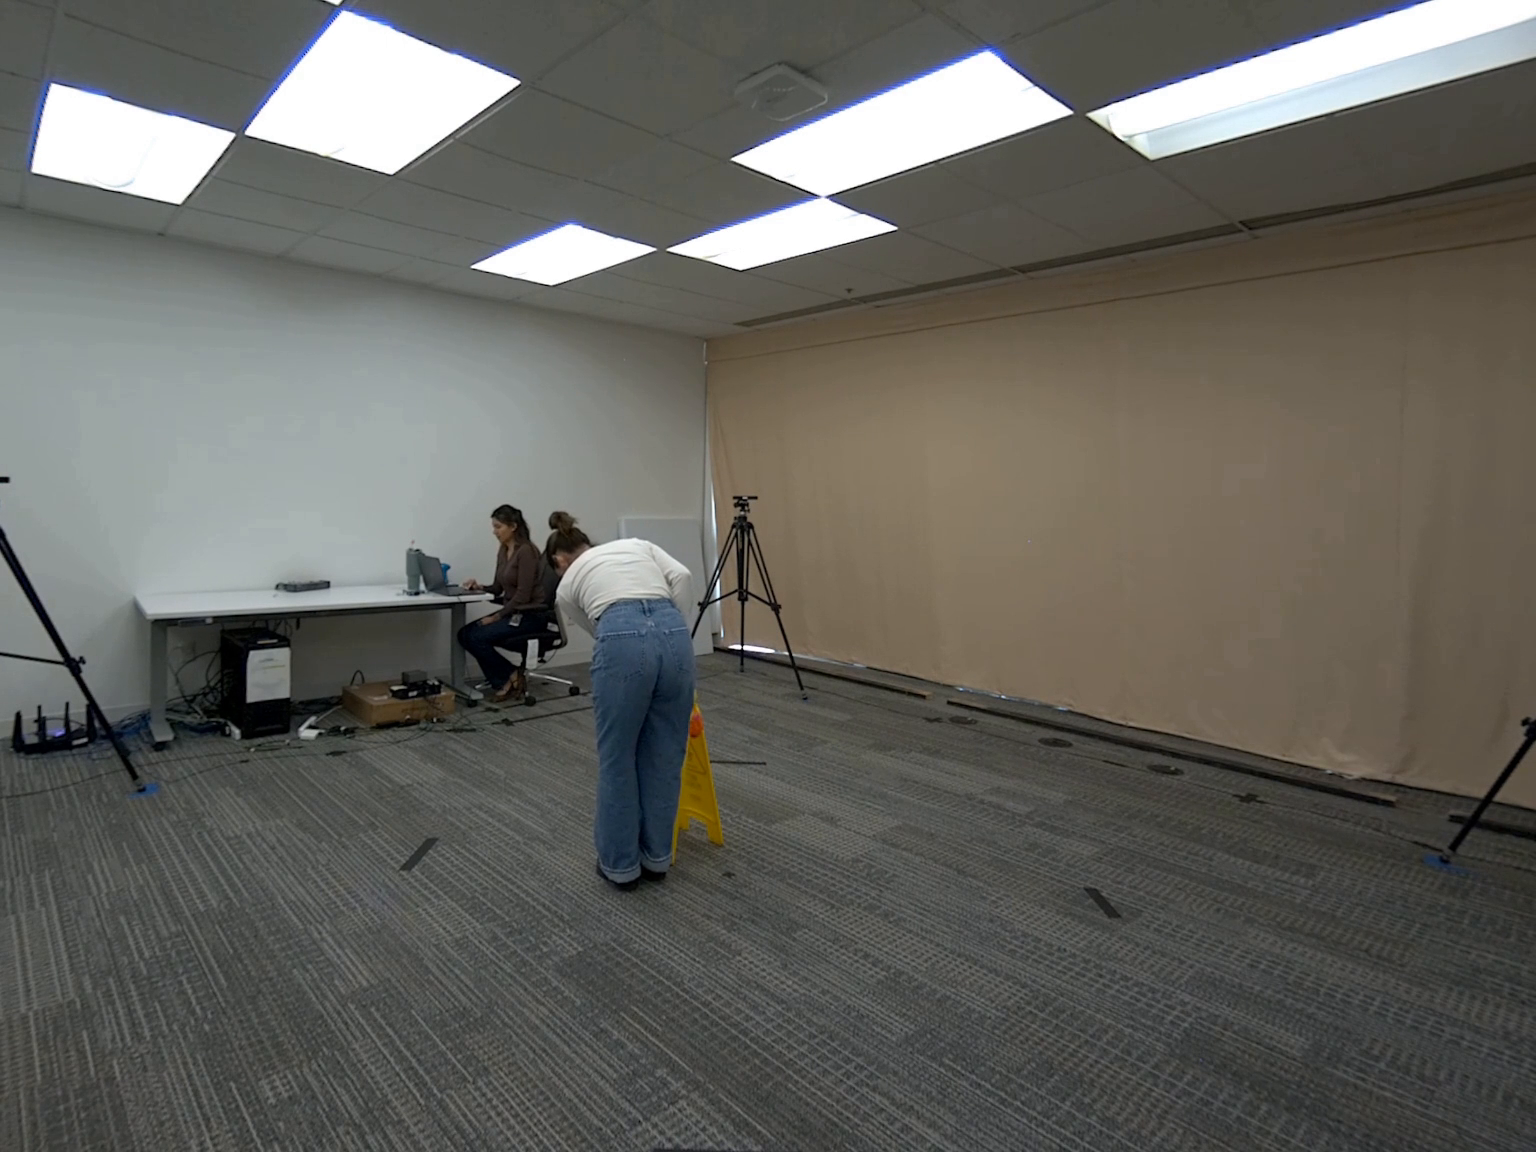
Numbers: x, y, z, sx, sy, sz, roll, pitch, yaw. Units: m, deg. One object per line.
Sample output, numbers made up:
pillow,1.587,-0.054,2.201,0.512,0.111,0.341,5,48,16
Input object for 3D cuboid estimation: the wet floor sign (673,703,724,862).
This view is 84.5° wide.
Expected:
wet floor sign,-0.370,0.755,3.349,0.289,0.644,0.283,6,5,43
